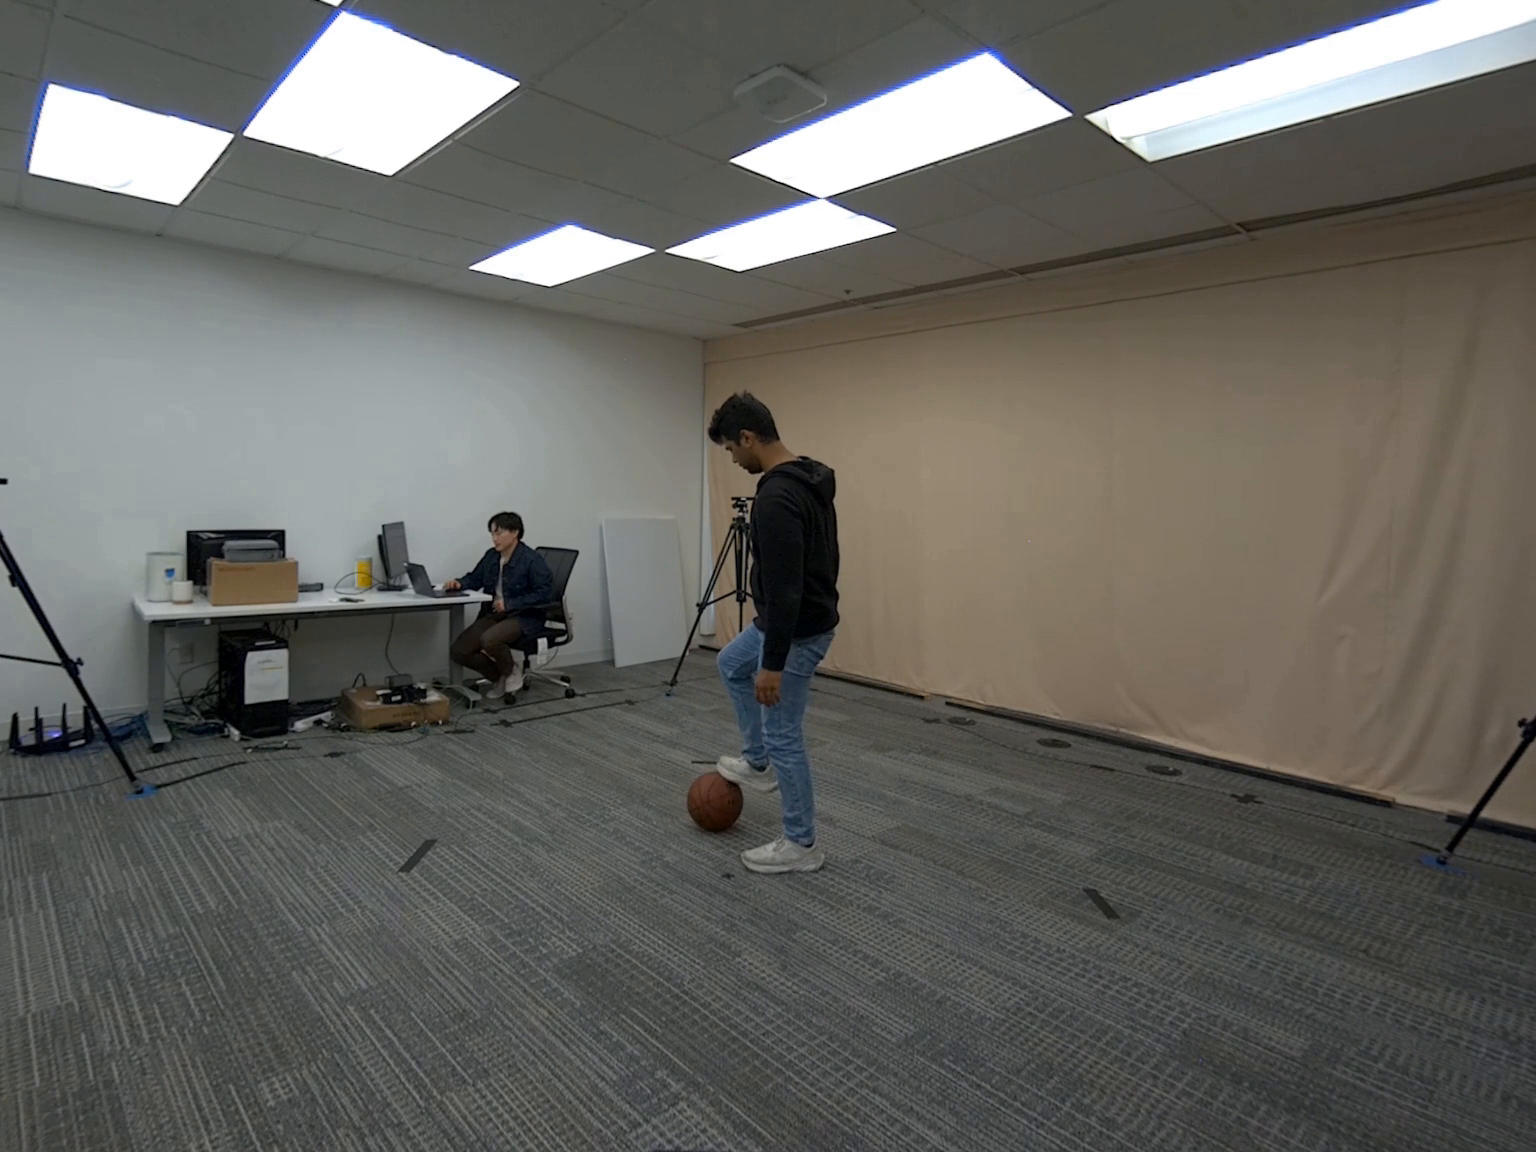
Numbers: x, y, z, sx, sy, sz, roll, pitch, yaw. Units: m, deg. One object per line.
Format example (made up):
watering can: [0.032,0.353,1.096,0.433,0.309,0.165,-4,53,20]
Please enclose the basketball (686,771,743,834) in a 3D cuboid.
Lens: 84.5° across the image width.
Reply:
basketball: [-0.237,0.944,3.551,0.236,0.235,0.237,1,4,-1]
